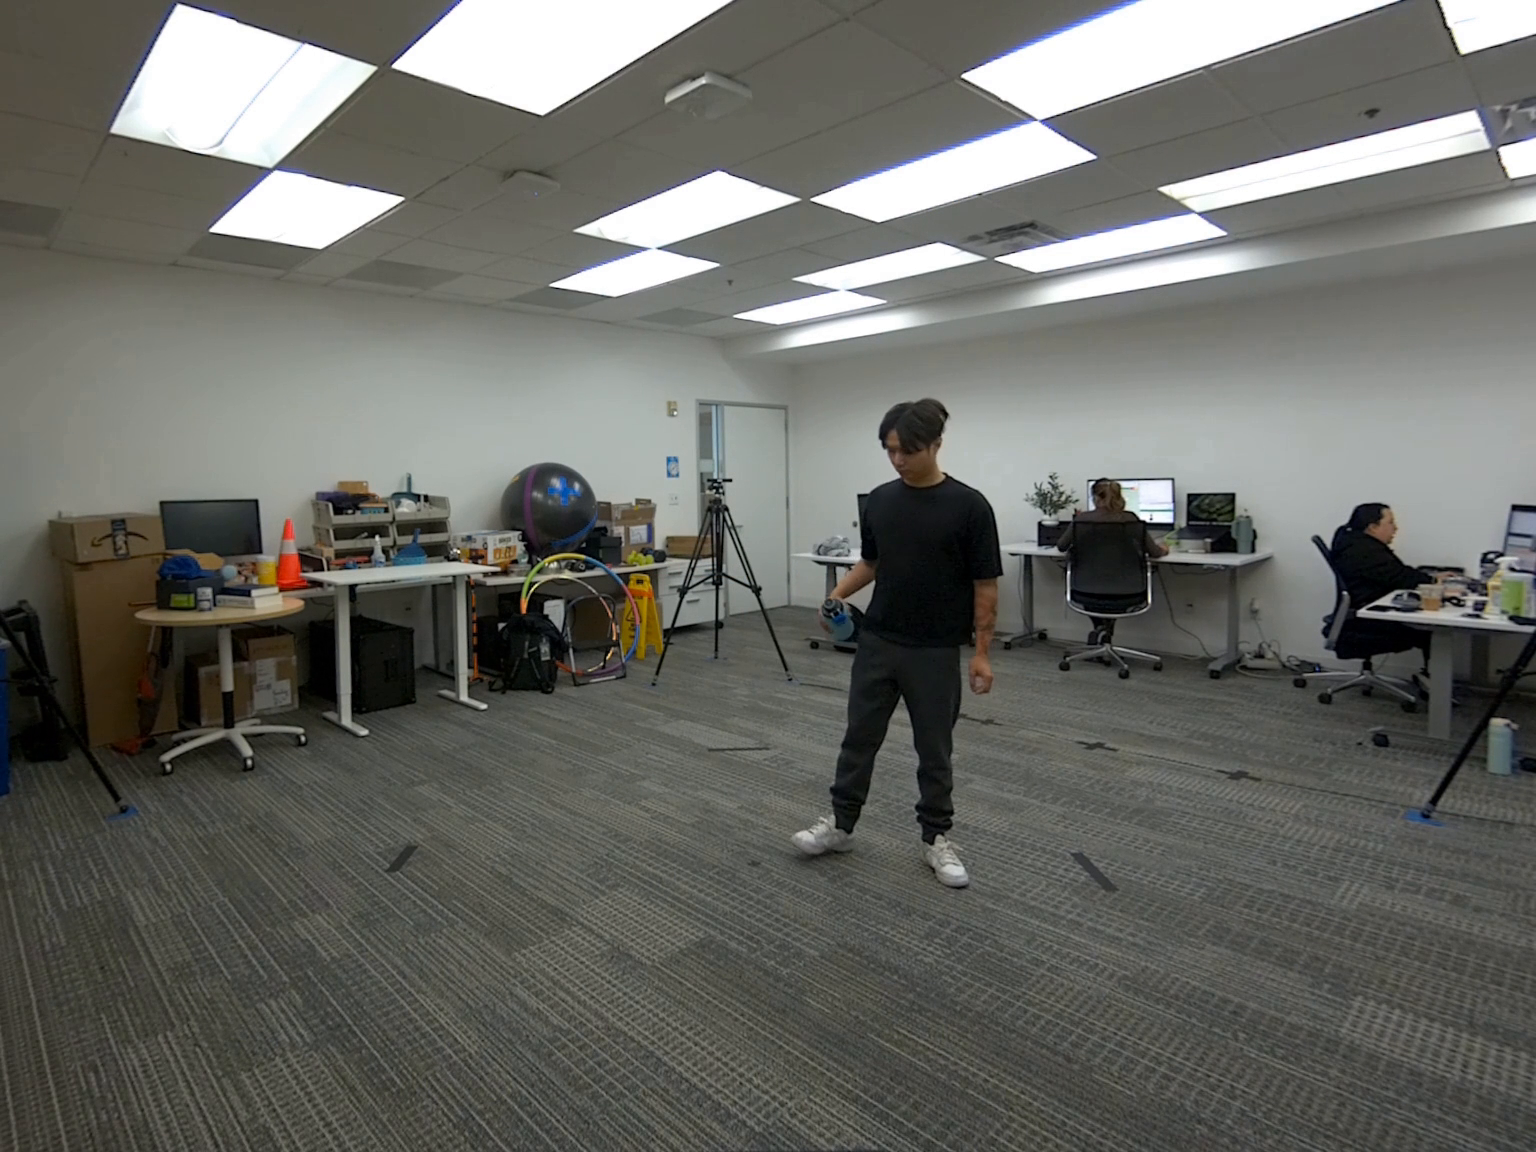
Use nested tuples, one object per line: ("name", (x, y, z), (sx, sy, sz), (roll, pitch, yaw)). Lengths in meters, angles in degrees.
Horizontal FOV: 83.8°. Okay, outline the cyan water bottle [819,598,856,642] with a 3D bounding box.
("cyan water bottle", (0.254, 0.156, 3.083), (0.093, 0.094, 0.275), (1, -21, 13))
